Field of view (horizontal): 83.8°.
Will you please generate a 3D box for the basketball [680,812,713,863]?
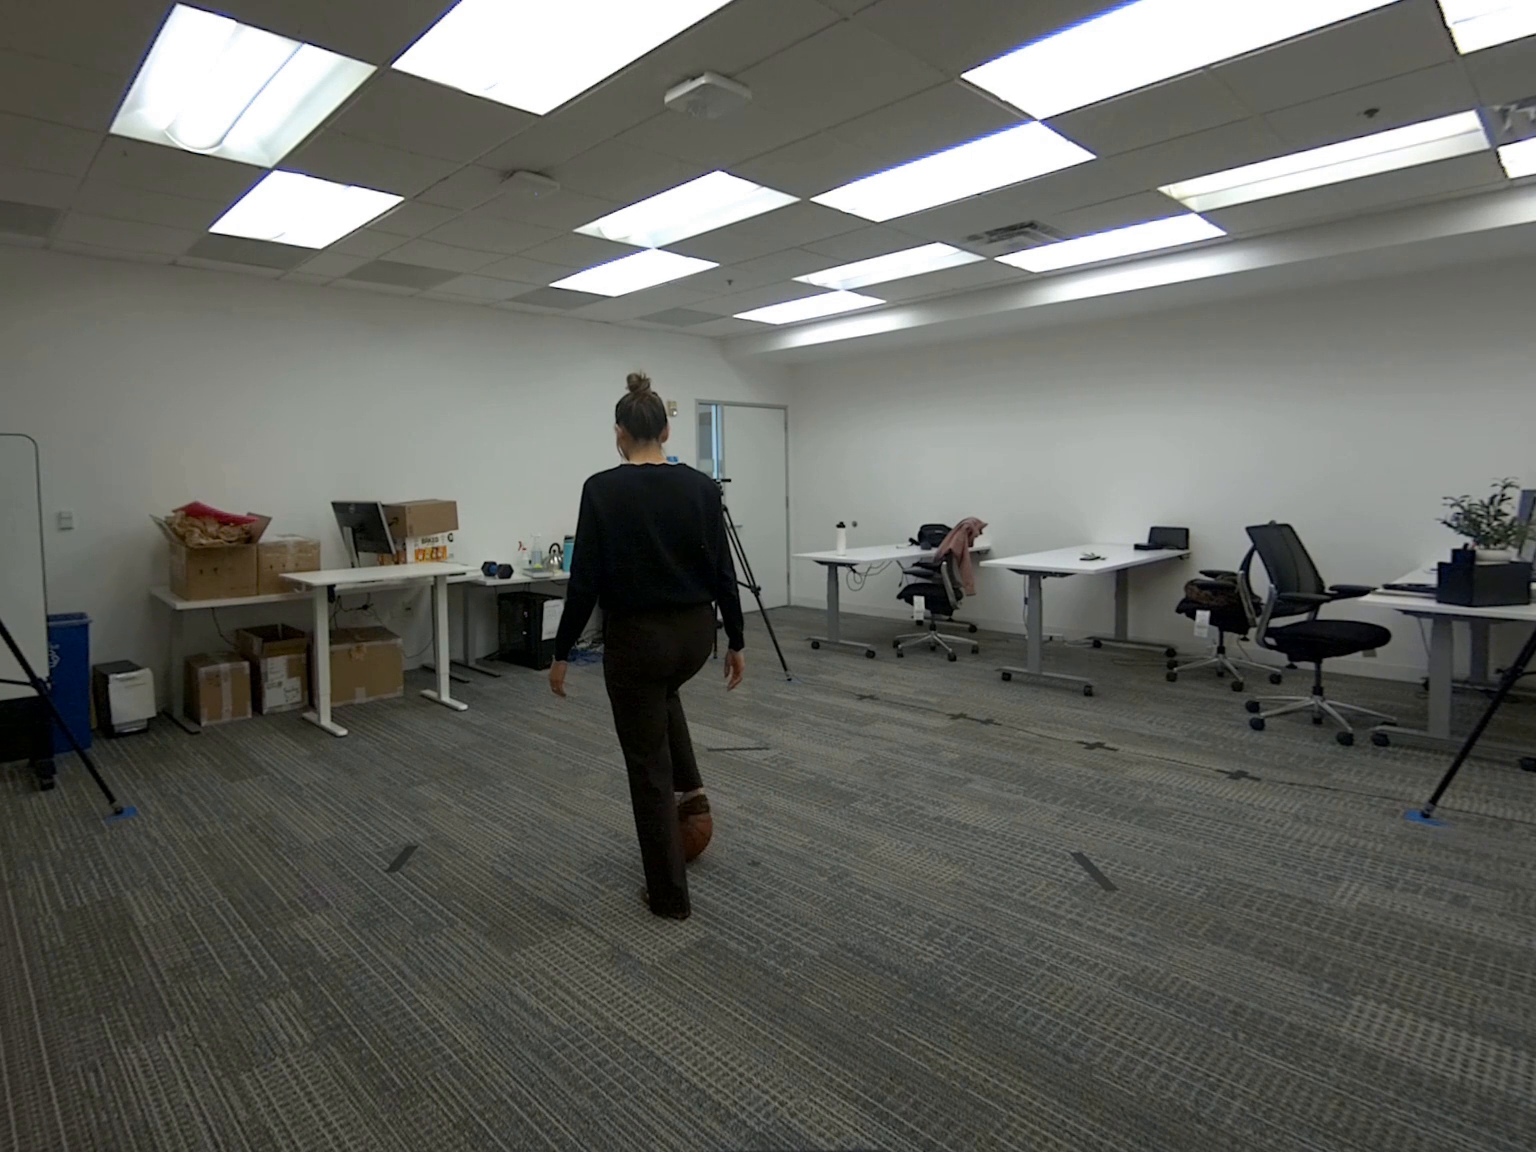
[{"bbox_3d":[-0.319,0.923,3.173,0.236,0.235,0.237,-1,5,-2],"label":"basketball"}]
